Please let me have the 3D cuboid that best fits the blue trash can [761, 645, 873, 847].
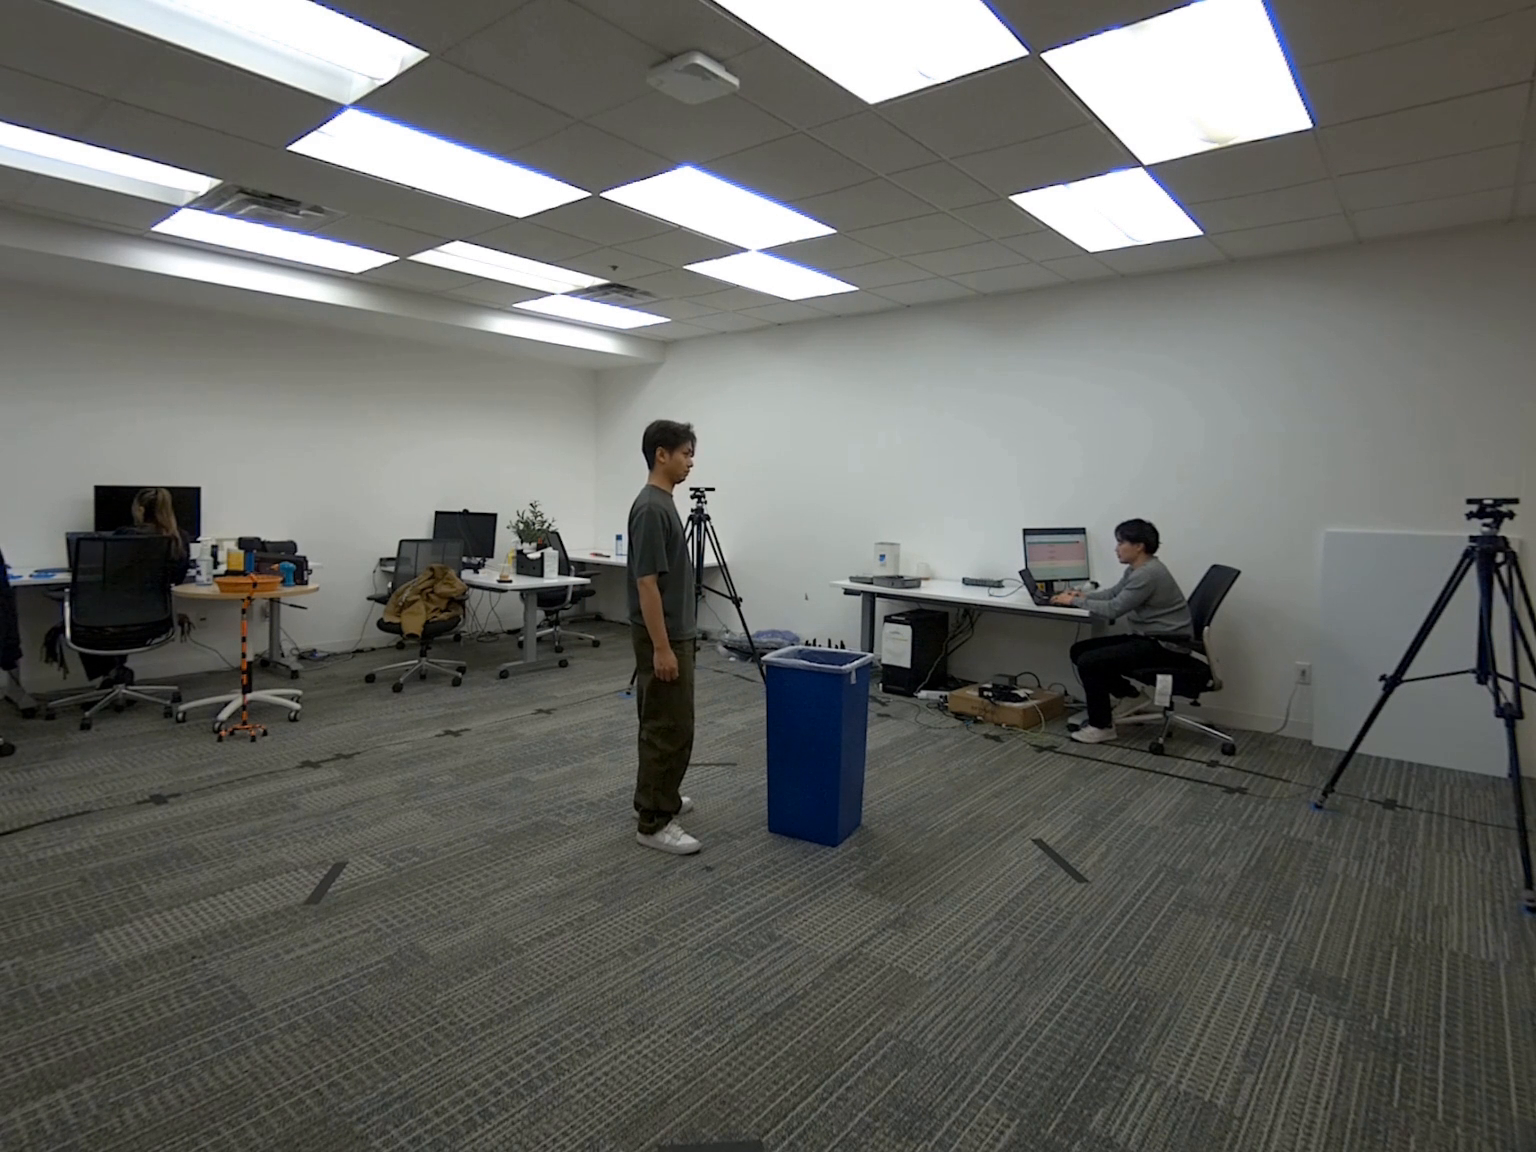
[{"bbox_3d":[0.196,0.681,3.492,0.388,0.712,0.365,3,2,27],"label":"blue trash can"}]
